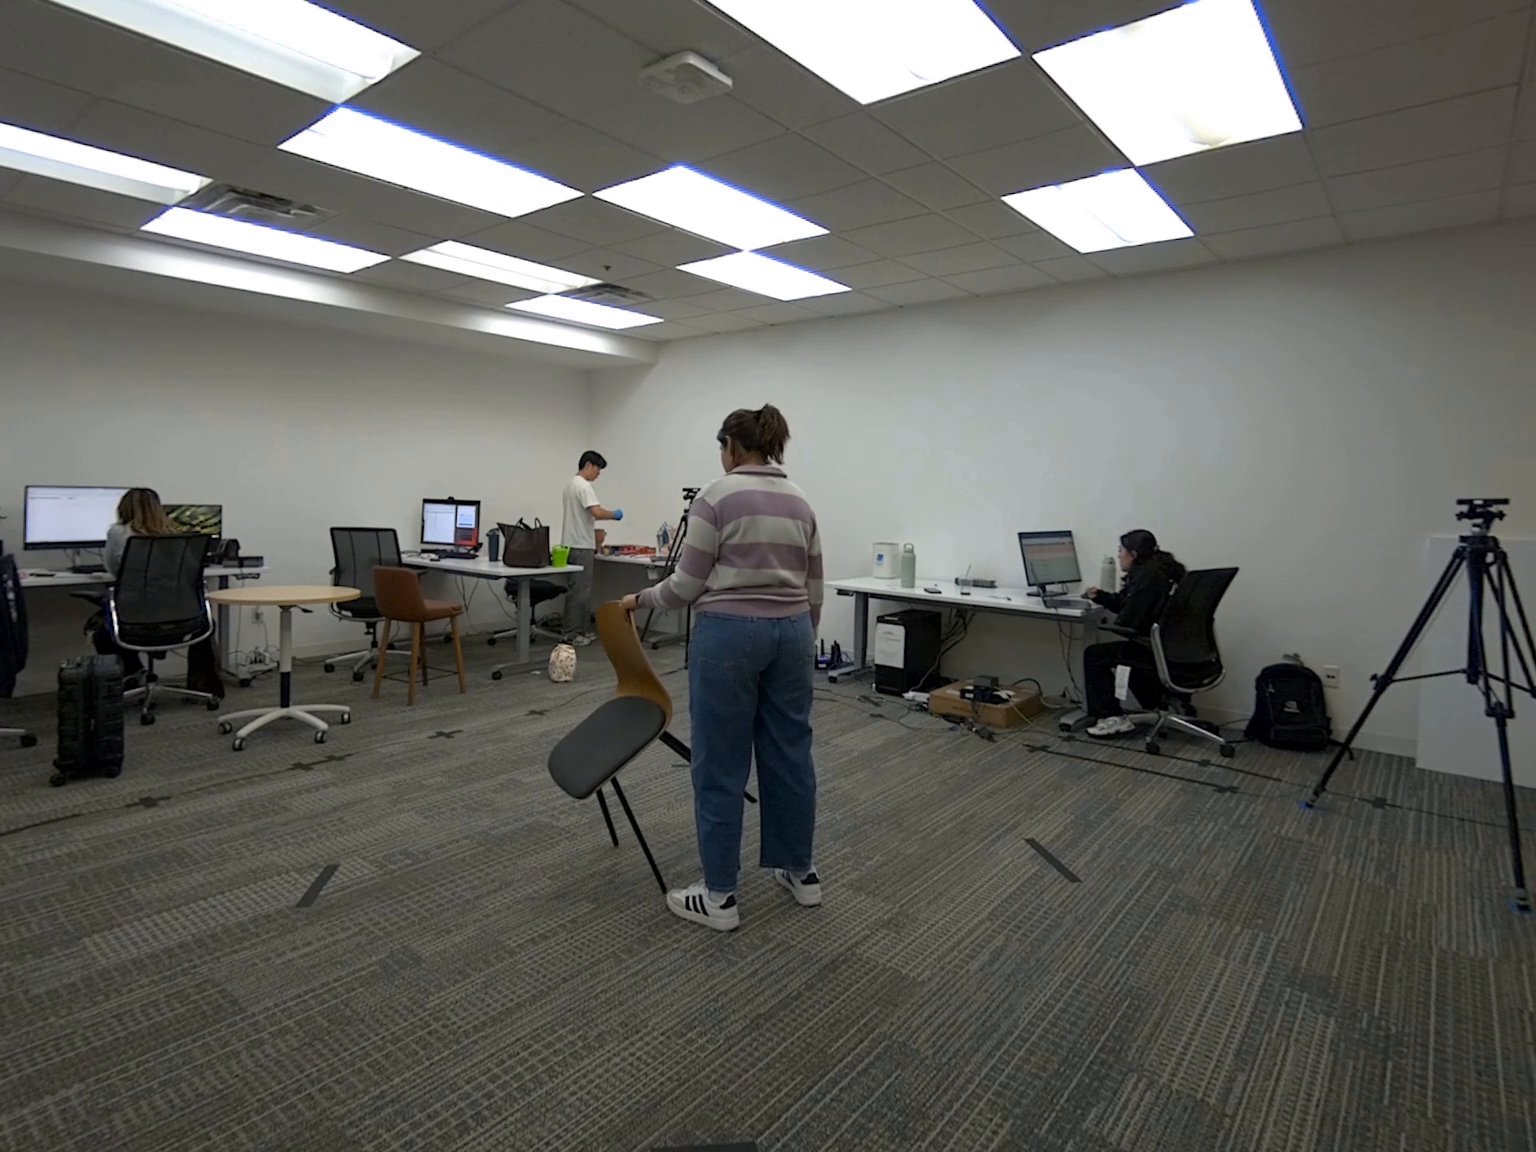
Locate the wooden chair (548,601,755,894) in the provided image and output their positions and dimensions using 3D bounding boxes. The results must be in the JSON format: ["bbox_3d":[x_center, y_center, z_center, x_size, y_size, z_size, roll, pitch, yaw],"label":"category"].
[{"bbox_3d":[-0.535,0.595,3.050,0.519,0.858,0.492,-35,20,-24],"label":"wooden chair"}]
